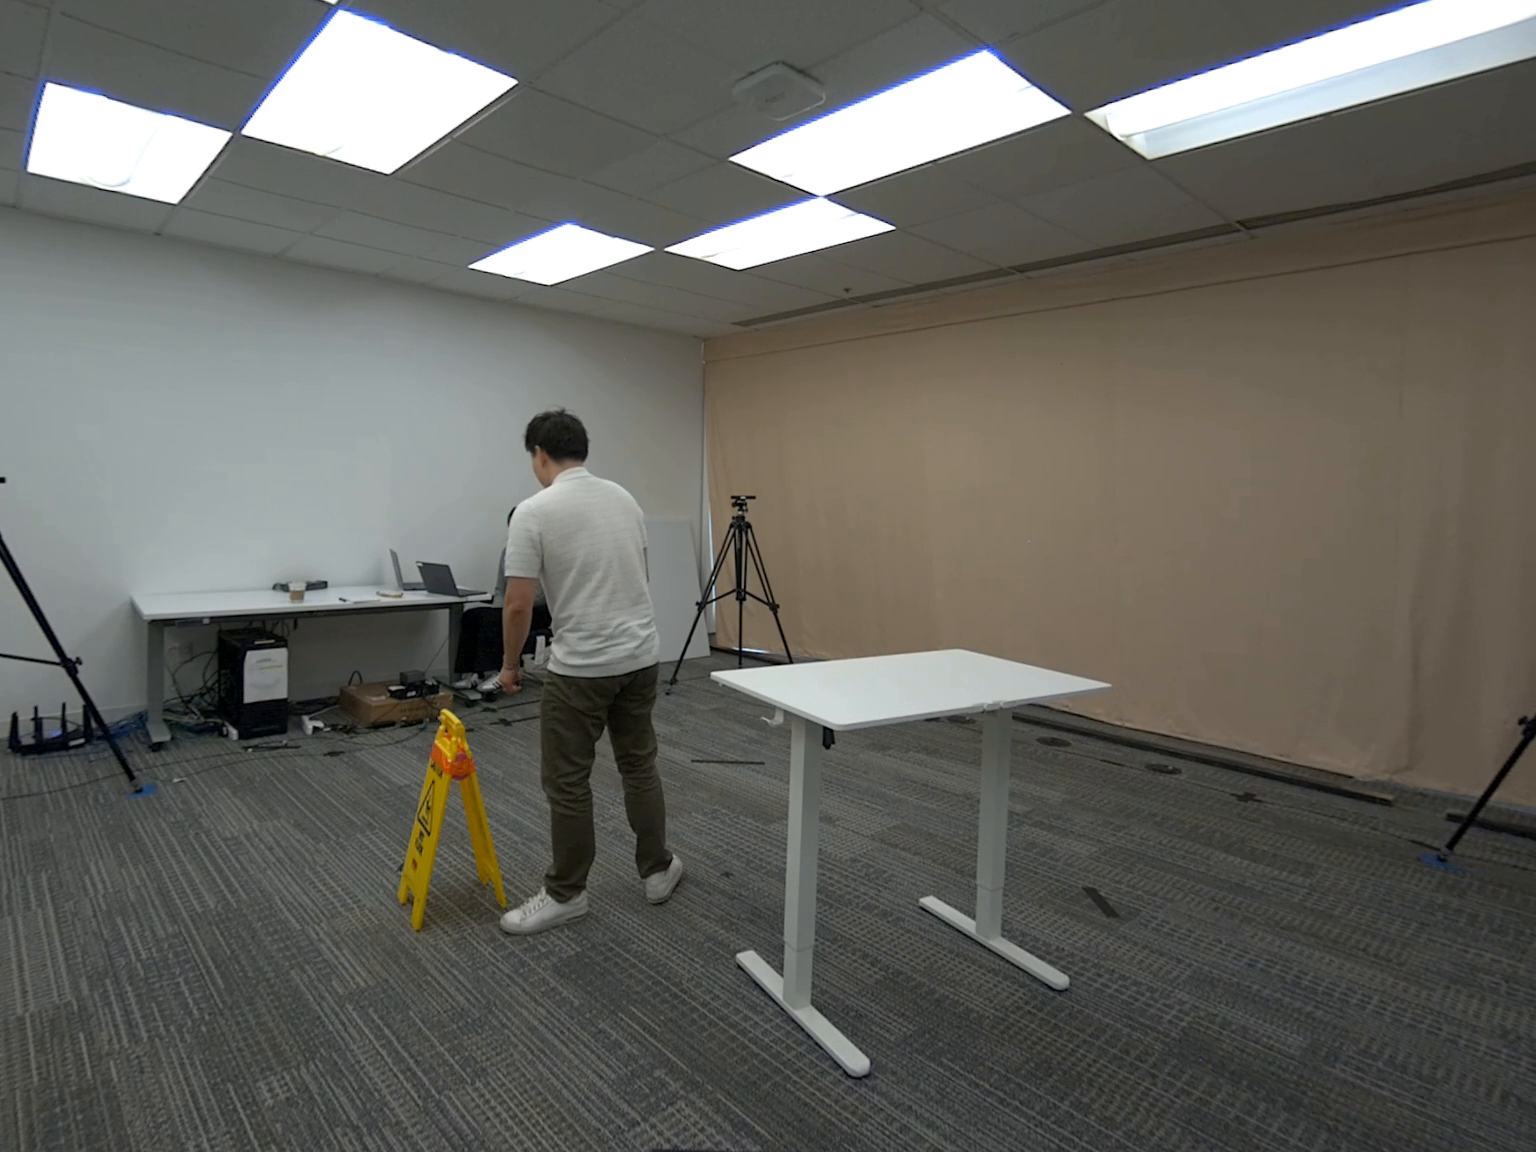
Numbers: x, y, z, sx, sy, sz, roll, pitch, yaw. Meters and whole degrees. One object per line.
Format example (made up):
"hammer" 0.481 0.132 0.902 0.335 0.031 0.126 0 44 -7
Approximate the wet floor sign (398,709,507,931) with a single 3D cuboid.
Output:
"wet floor sign" -1.066 0.783 2.829 0.283 0.645 0.289 -1 4 -34
